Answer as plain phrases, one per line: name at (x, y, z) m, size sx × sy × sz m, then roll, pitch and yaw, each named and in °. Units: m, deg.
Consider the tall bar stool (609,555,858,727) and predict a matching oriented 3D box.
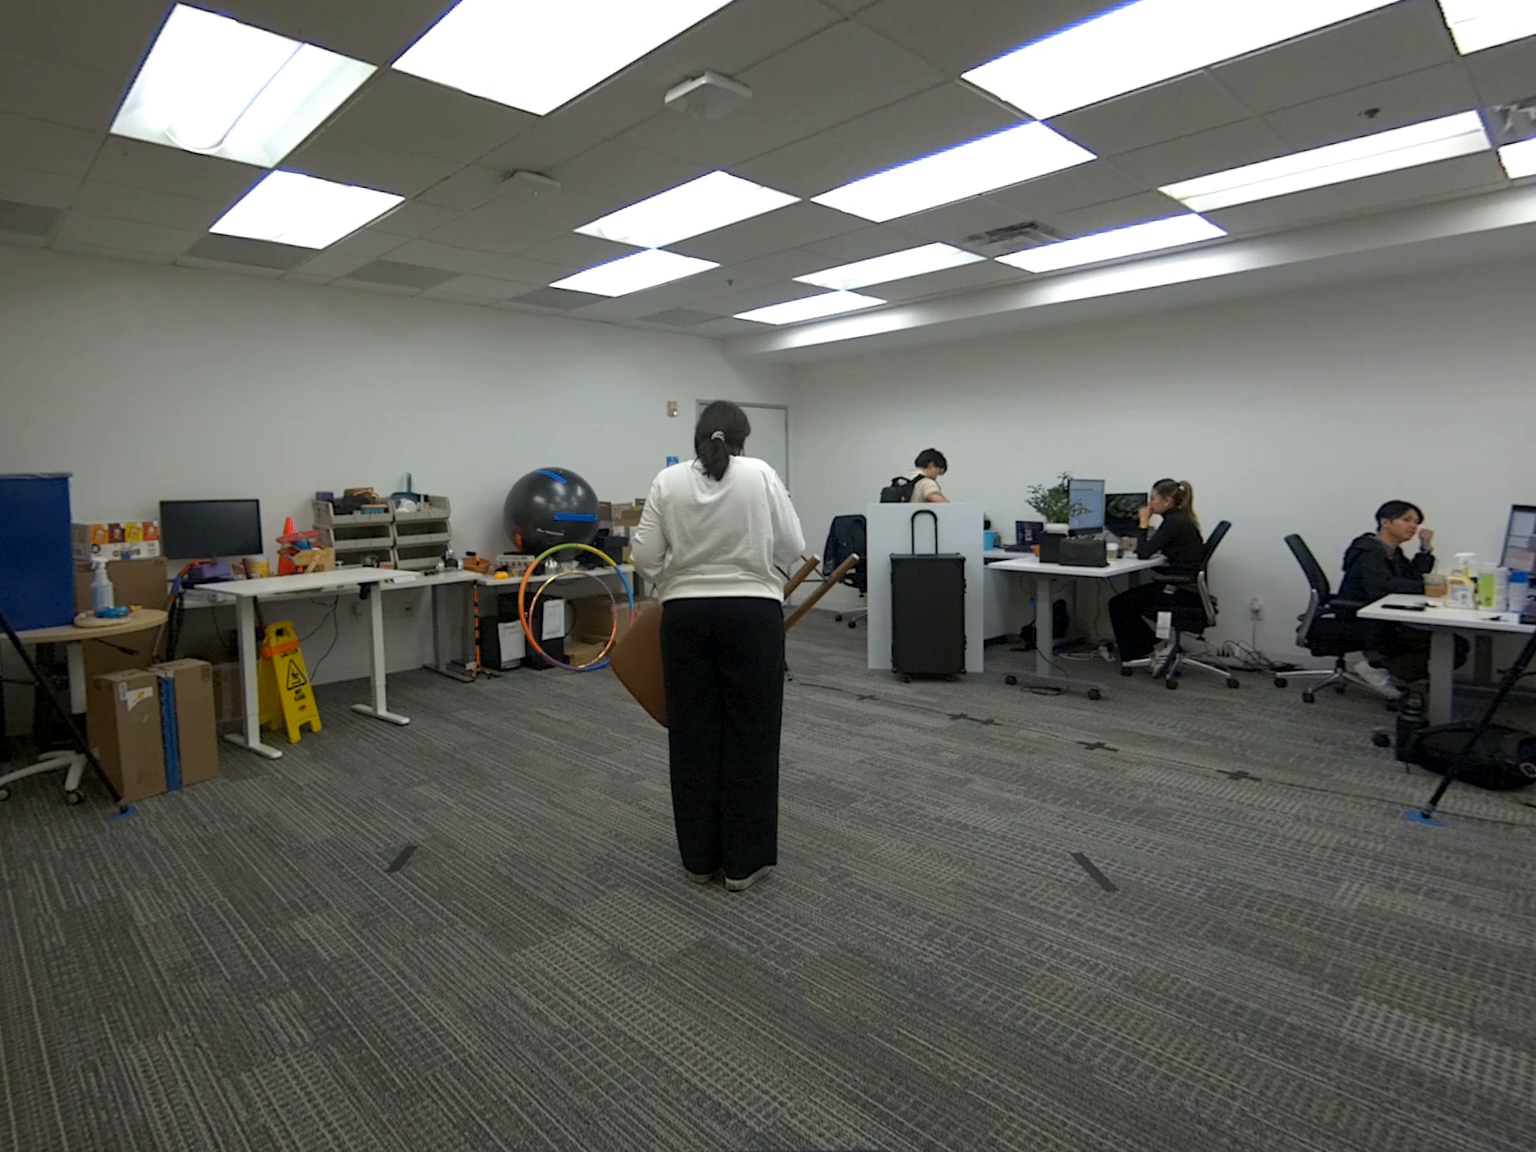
tall bar stool at (-0.143, 0.130, 3.302) m, size 0.467 × 0.888 × 0.457 m, roll 44°, pitch 15°, yaw 17°
